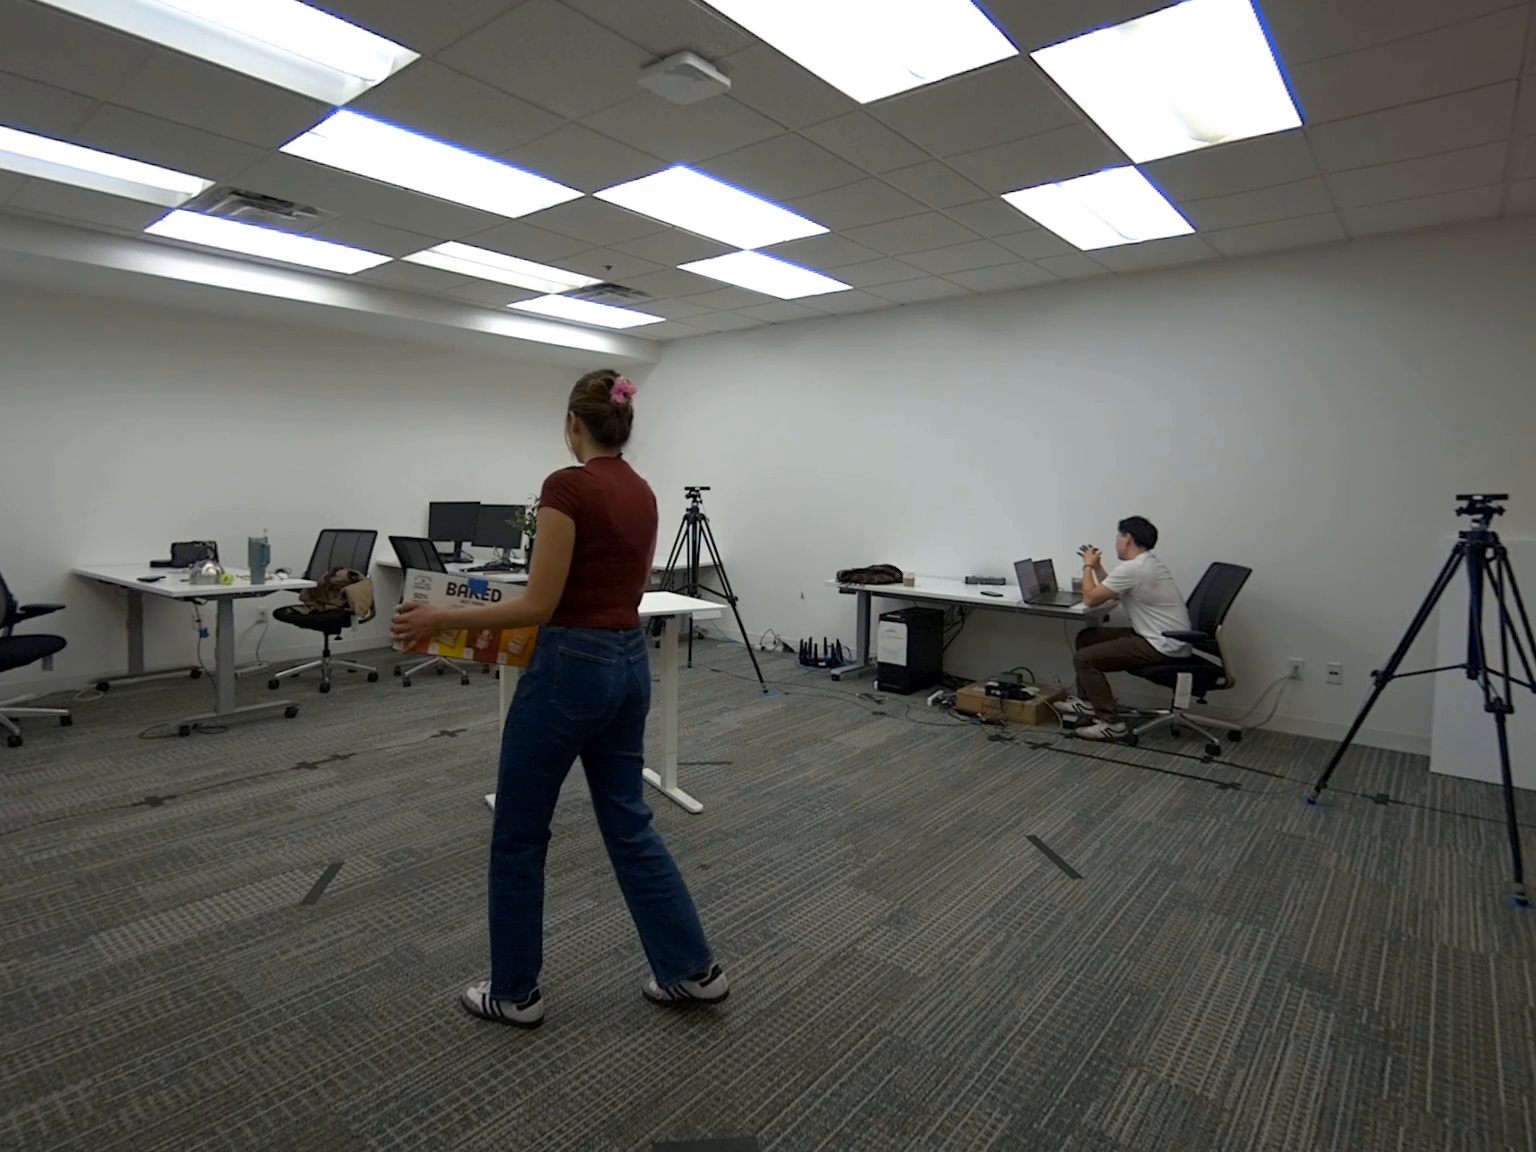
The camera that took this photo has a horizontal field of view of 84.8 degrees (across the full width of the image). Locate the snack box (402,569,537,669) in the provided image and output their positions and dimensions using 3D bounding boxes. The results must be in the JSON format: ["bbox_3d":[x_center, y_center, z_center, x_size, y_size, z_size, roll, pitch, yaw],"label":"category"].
[{"bbox_3d":[-0.804,0.108,2.320,0.335,0.206,0.410,10,-4,-14],"label":"snack box"}]
